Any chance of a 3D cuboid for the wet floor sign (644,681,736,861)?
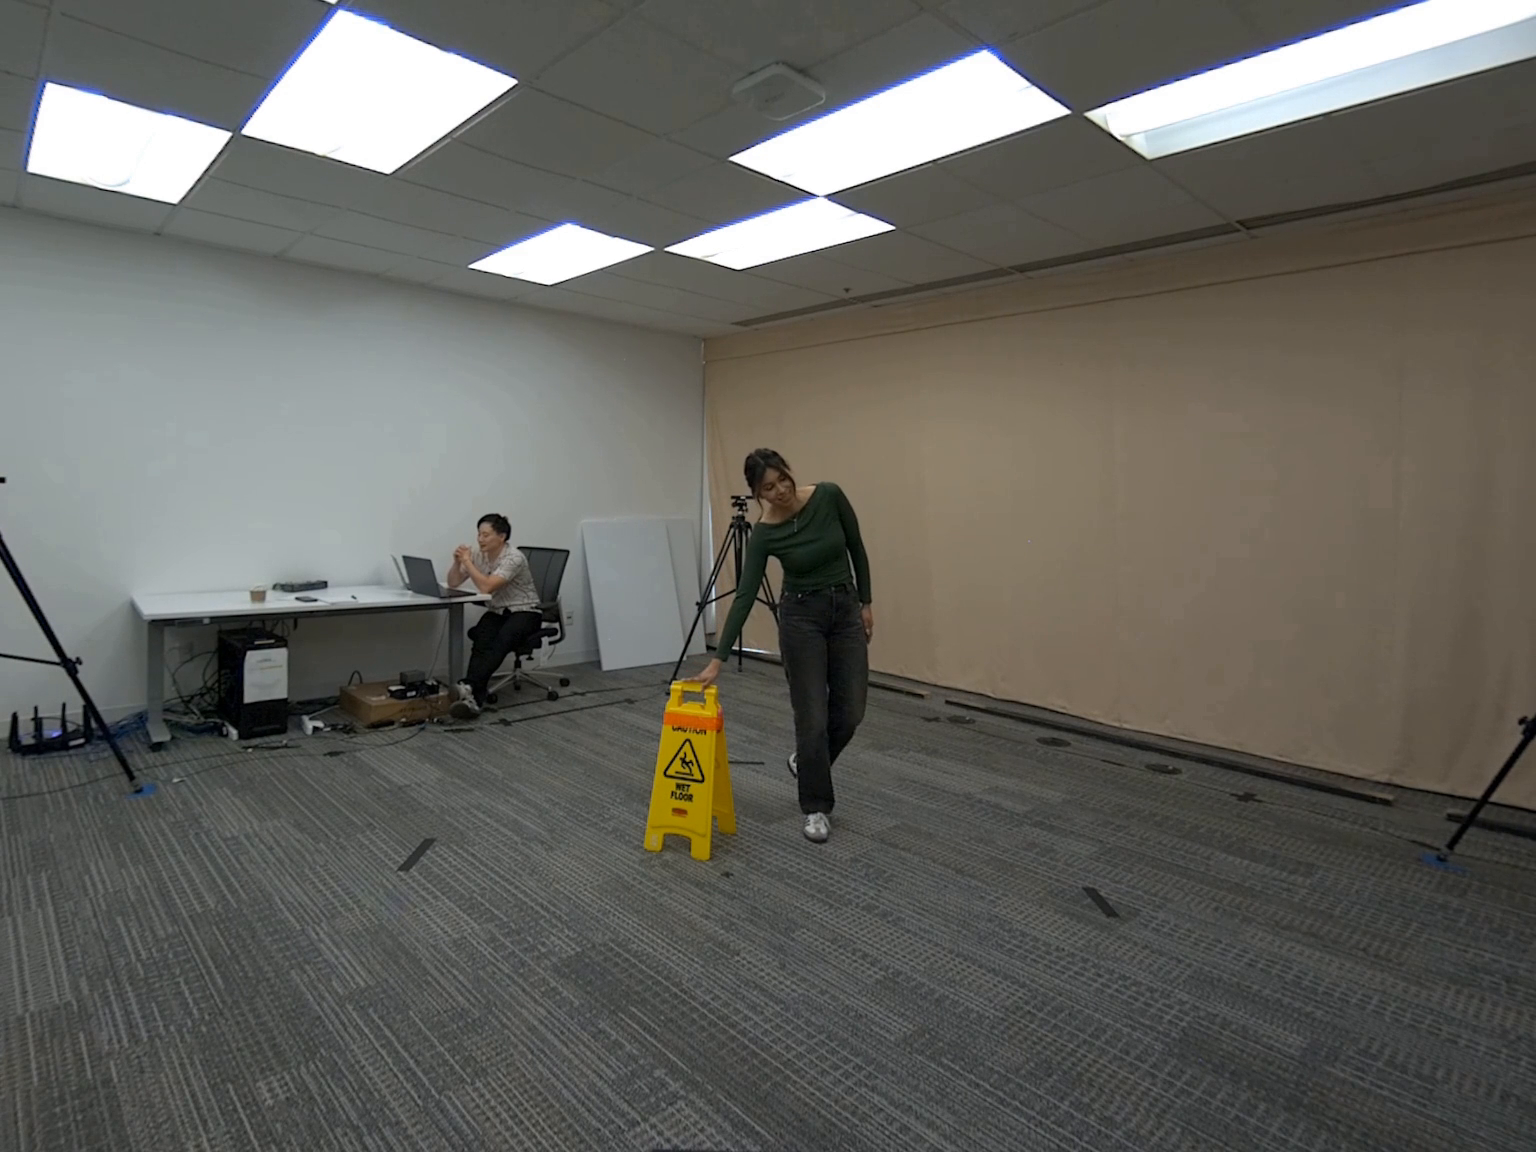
[{"bbox_3d":[-0.313,0.752,3.385,0.287,0.644,0.286,1,3,20],"label":"wet floor sign"}]
